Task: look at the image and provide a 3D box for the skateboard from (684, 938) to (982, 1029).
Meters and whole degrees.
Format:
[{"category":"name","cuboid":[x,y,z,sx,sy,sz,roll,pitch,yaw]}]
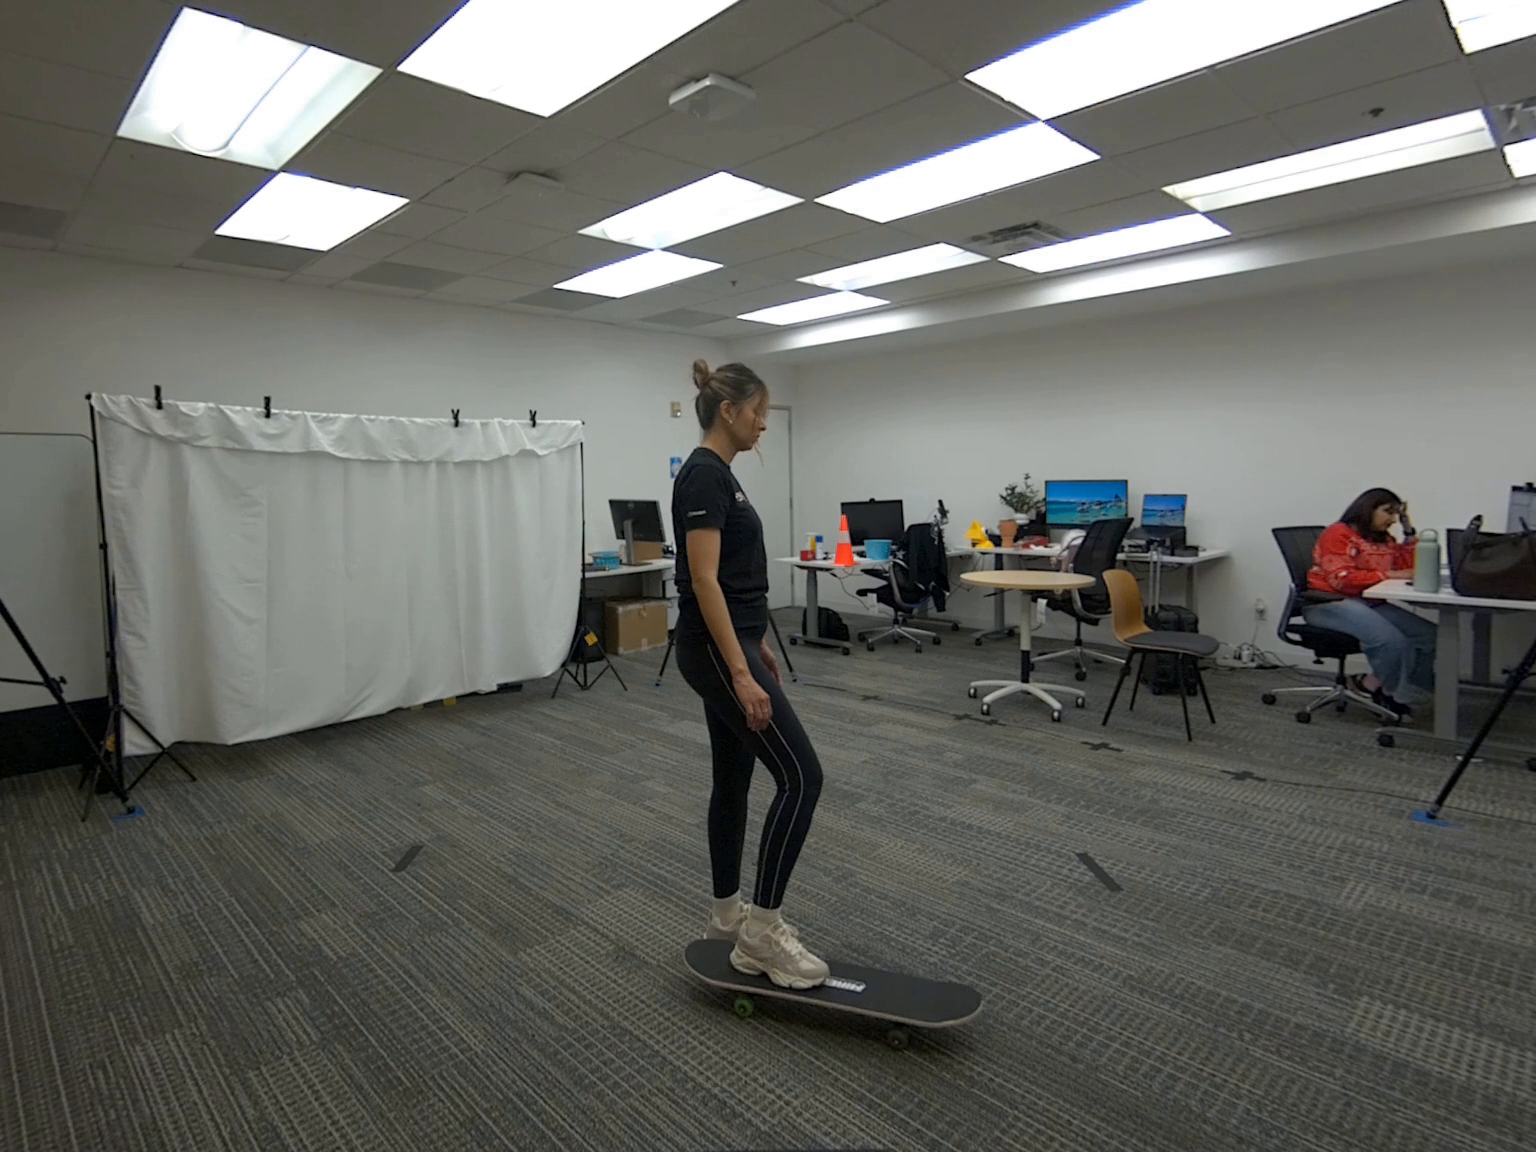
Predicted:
[{"category":"skateboard","cuboid":[0.158,1.091,2.239,0.800,0.110,0.191,1,5,19]}]
